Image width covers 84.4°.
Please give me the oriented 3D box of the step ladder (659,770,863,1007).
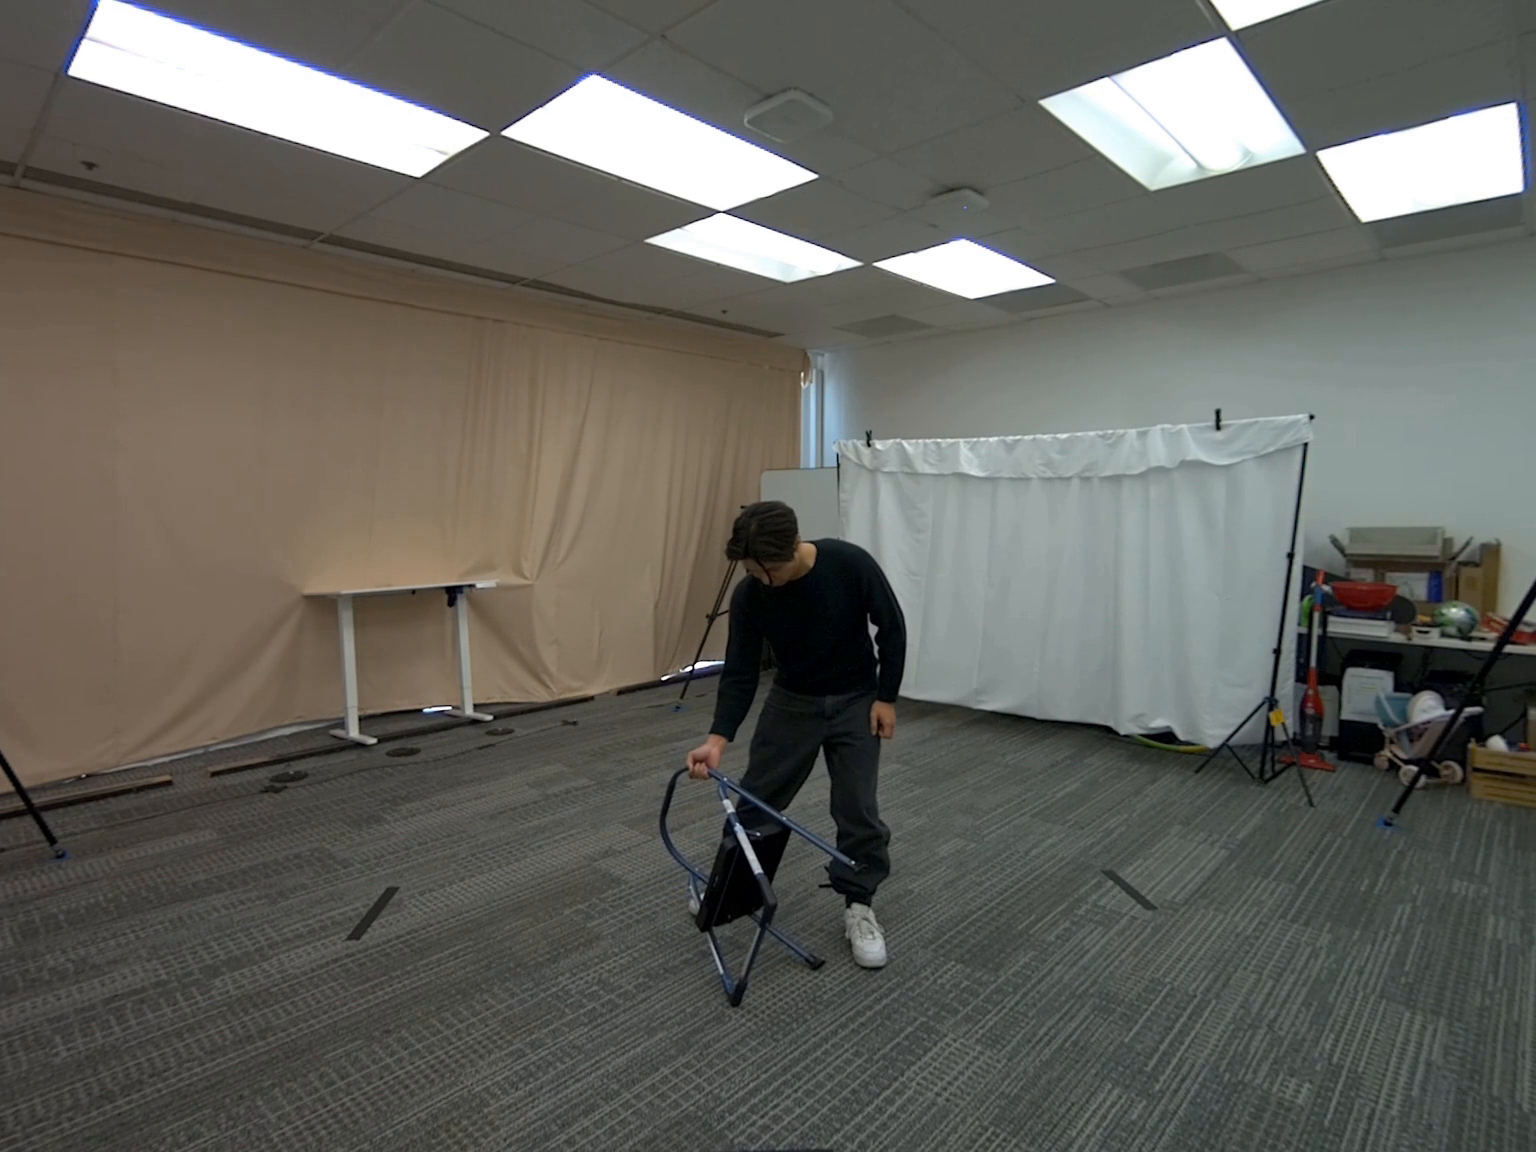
[{"bbox_3d":[-0.083,0.858,2.550,0.339,0.427,0.628,-5,32,-38],"label":"step ladder"}]
